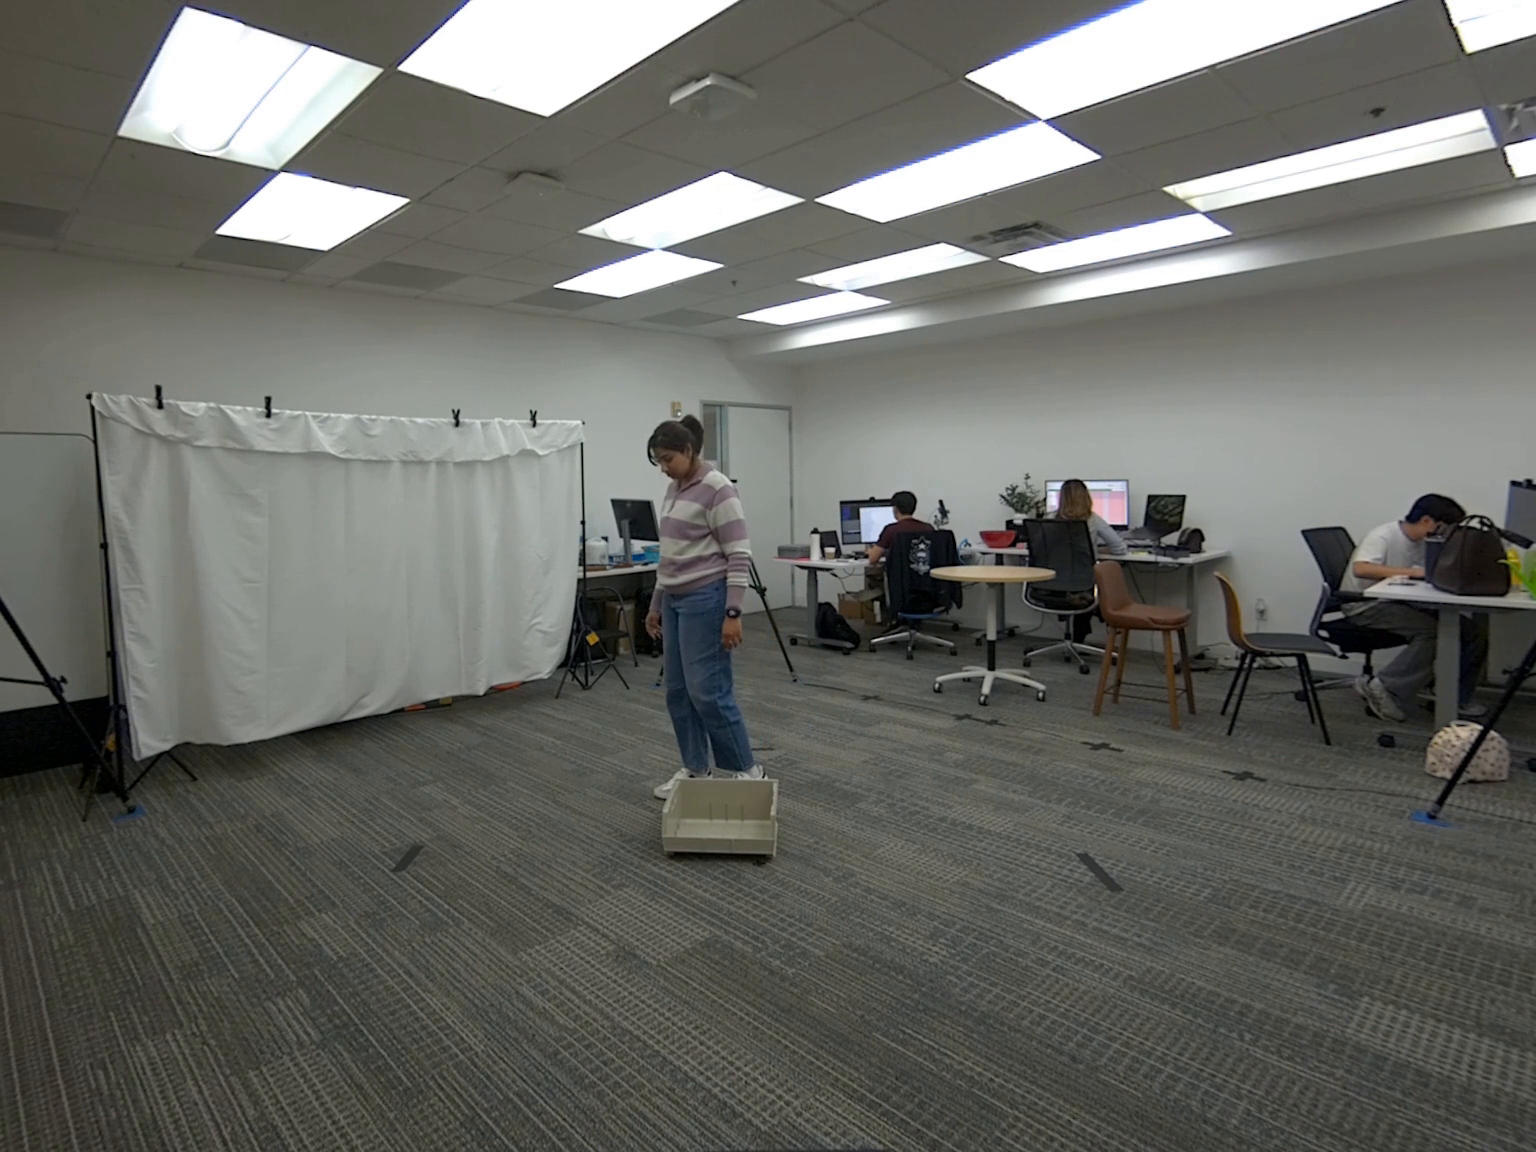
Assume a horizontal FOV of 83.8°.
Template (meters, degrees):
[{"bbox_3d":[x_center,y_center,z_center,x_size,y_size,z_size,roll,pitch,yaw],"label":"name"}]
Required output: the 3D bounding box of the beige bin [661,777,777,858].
[{"bbox_3d":[-0.175,0.939,3.306,0.424,0.188,0.377,-1,5,4],"label":"beige bin"}]
